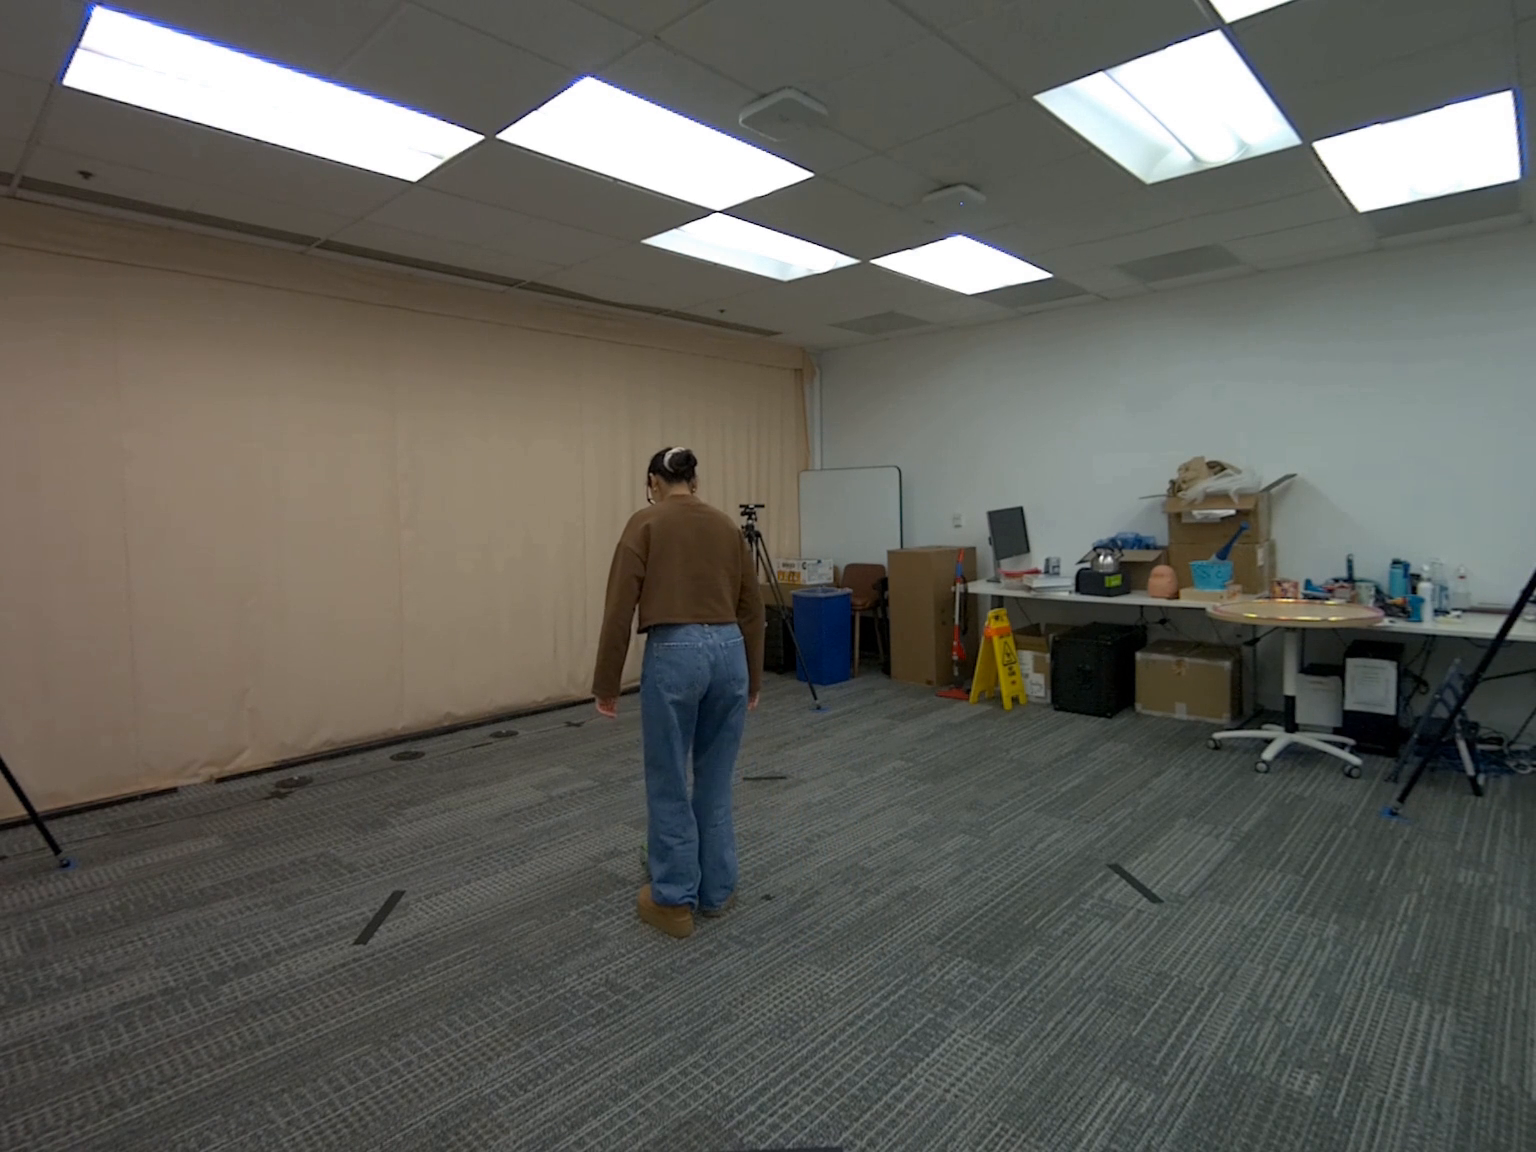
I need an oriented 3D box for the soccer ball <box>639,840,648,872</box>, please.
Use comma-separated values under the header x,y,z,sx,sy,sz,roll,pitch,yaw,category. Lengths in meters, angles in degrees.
x,y,z,sx,sy,sz,roll,pitch,yaw,category
-0.382,1.035,3.157,0.187,0.187,0.188,-1,4,-2,soccer ball
